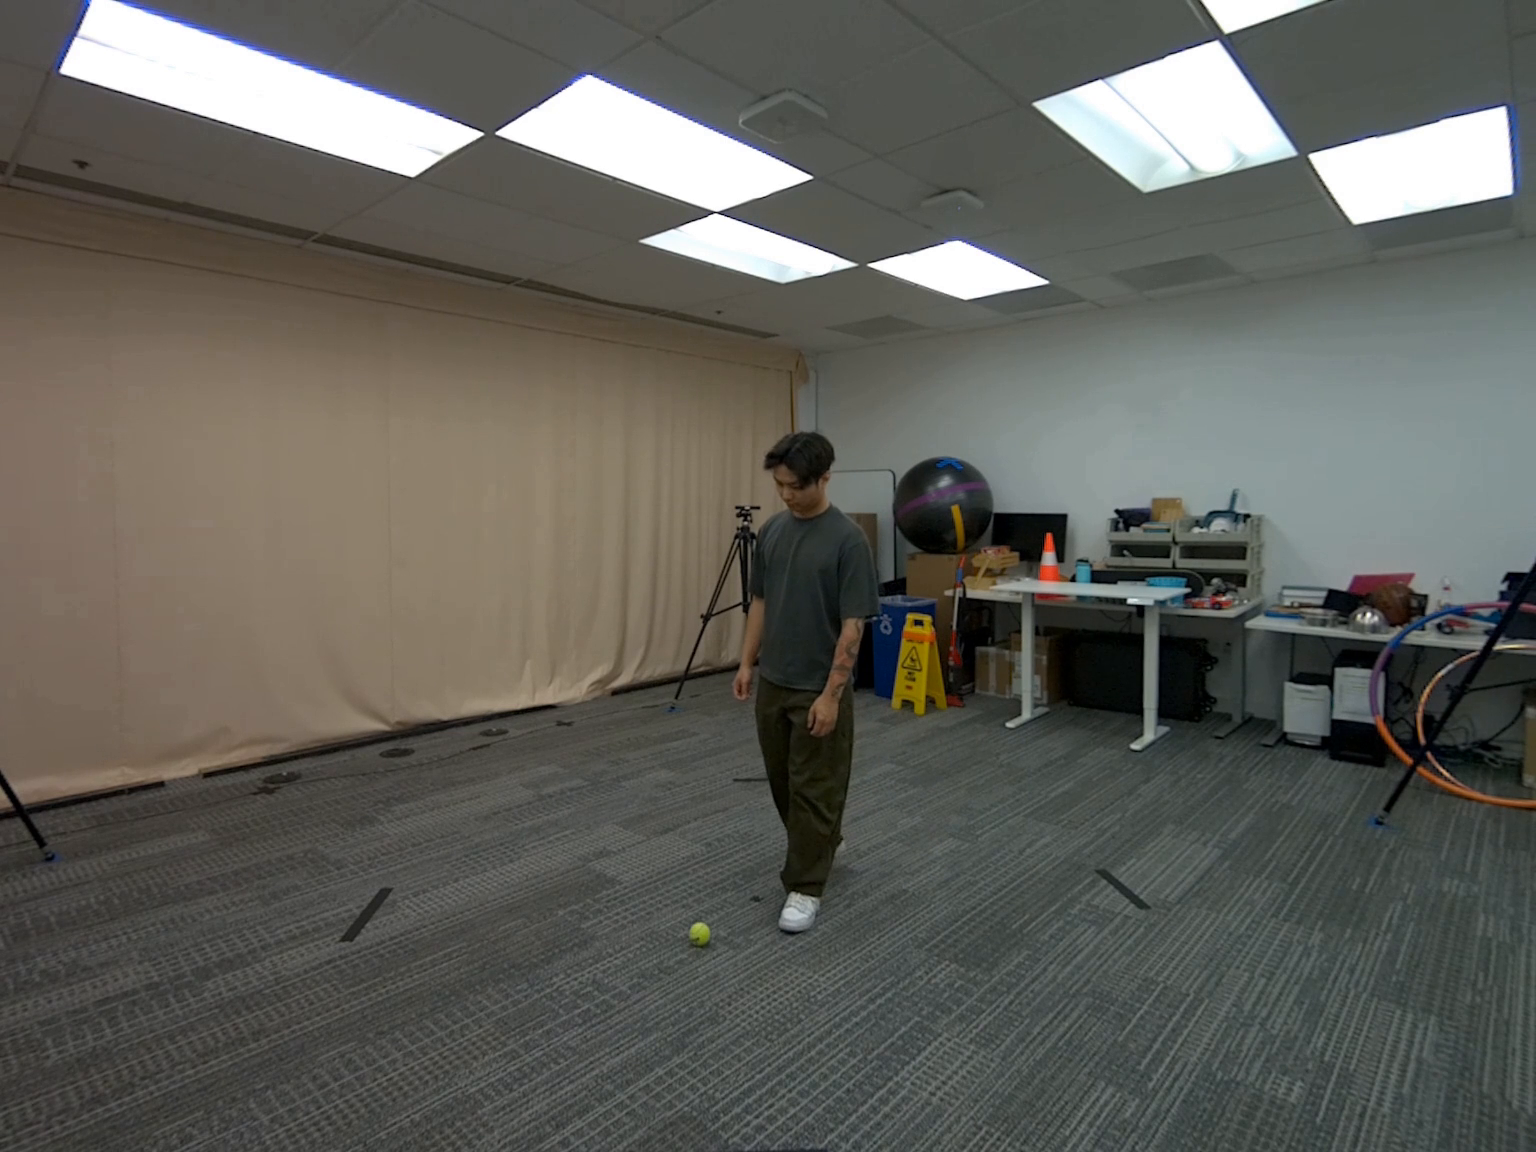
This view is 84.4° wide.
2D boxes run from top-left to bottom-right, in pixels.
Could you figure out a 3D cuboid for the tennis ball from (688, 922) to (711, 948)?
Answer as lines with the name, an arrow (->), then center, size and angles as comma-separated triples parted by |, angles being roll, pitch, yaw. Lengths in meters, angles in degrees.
tennis ball -> -0.210, 1.130, 2.663 | 0.066, 0.066, 0.067 | 0, 4, -2
